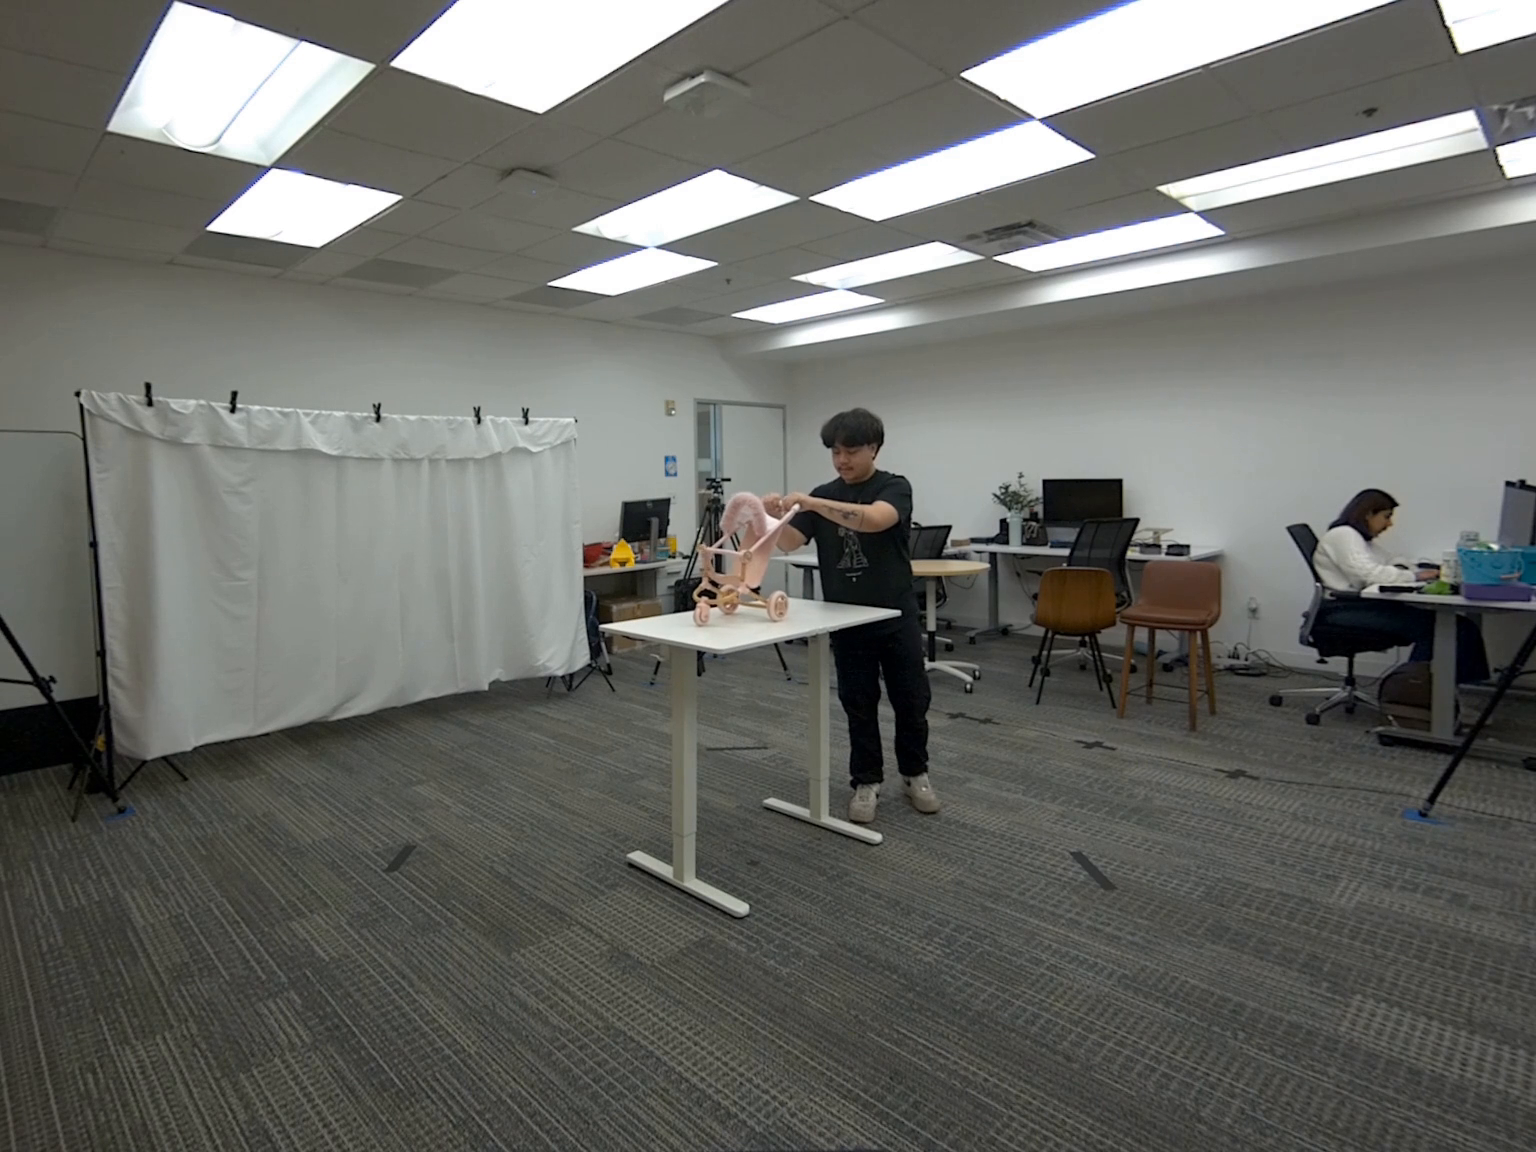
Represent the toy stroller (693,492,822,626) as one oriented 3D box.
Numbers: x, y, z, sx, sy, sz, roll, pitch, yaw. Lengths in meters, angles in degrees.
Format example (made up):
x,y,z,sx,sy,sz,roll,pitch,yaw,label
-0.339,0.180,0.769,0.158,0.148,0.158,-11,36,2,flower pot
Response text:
x,y,z,sx,sy,sz,roll,pitch,yaw,label
-0.099,-0.065,3.097,0.329,0.538,0.290,17,-9,-42,toy stroller
